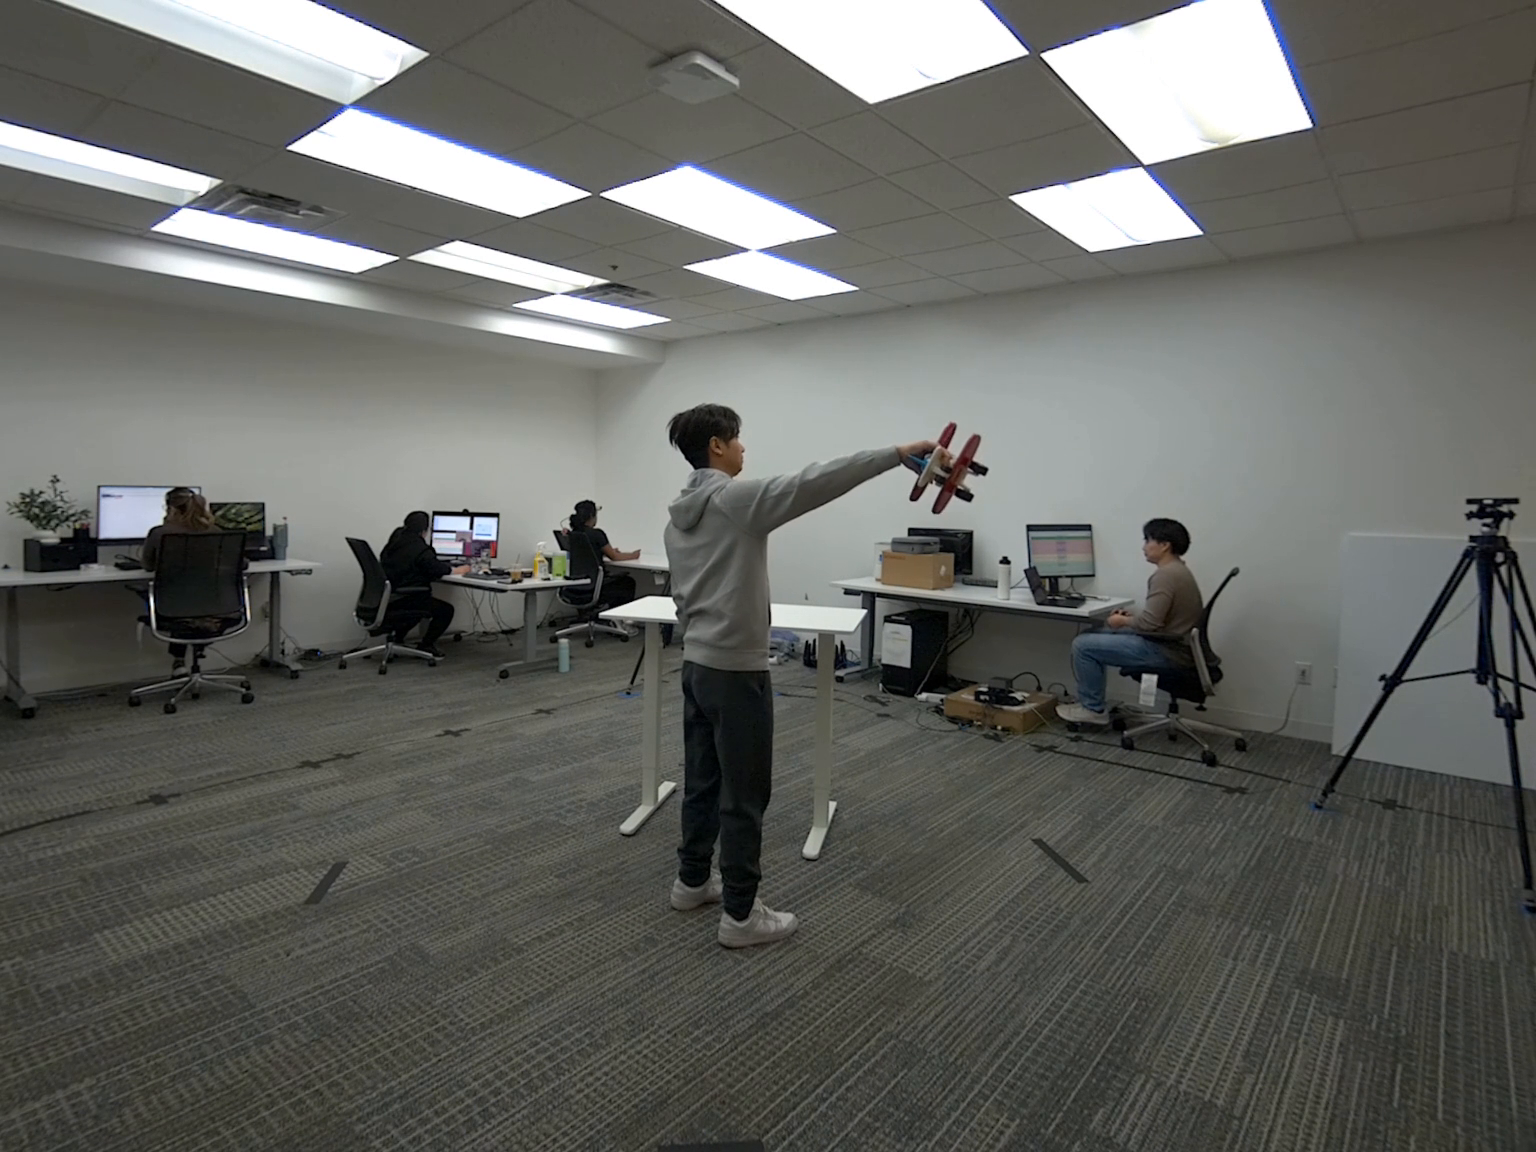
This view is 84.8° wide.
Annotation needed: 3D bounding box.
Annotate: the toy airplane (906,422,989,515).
[{"bbox_3d":[0.497,-0.316,2.405,0.163,0.251,0.248,38,-8,37],"label":"toy airplane"}]
